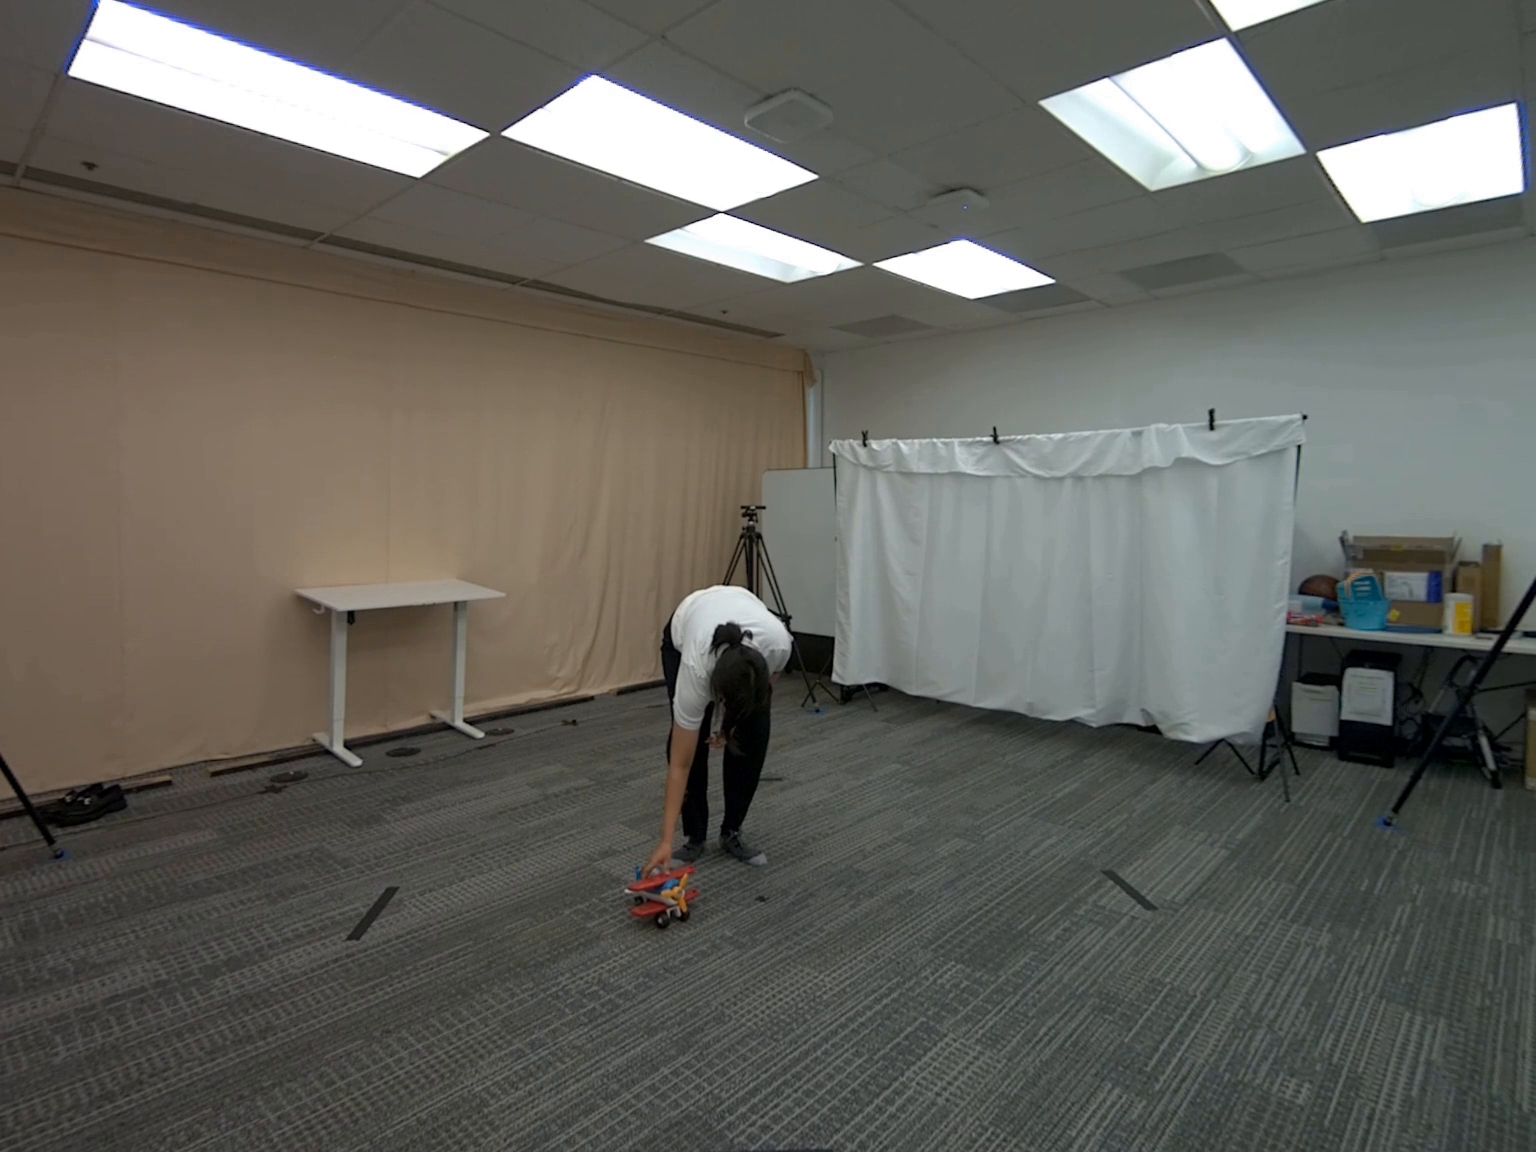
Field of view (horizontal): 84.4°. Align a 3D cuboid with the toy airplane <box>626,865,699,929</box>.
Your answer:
[{"bbox_3d":[-0.388,1.081,2.856,0.265,0.156,0.246,3,5,22],"label":"toy airplane"}]
